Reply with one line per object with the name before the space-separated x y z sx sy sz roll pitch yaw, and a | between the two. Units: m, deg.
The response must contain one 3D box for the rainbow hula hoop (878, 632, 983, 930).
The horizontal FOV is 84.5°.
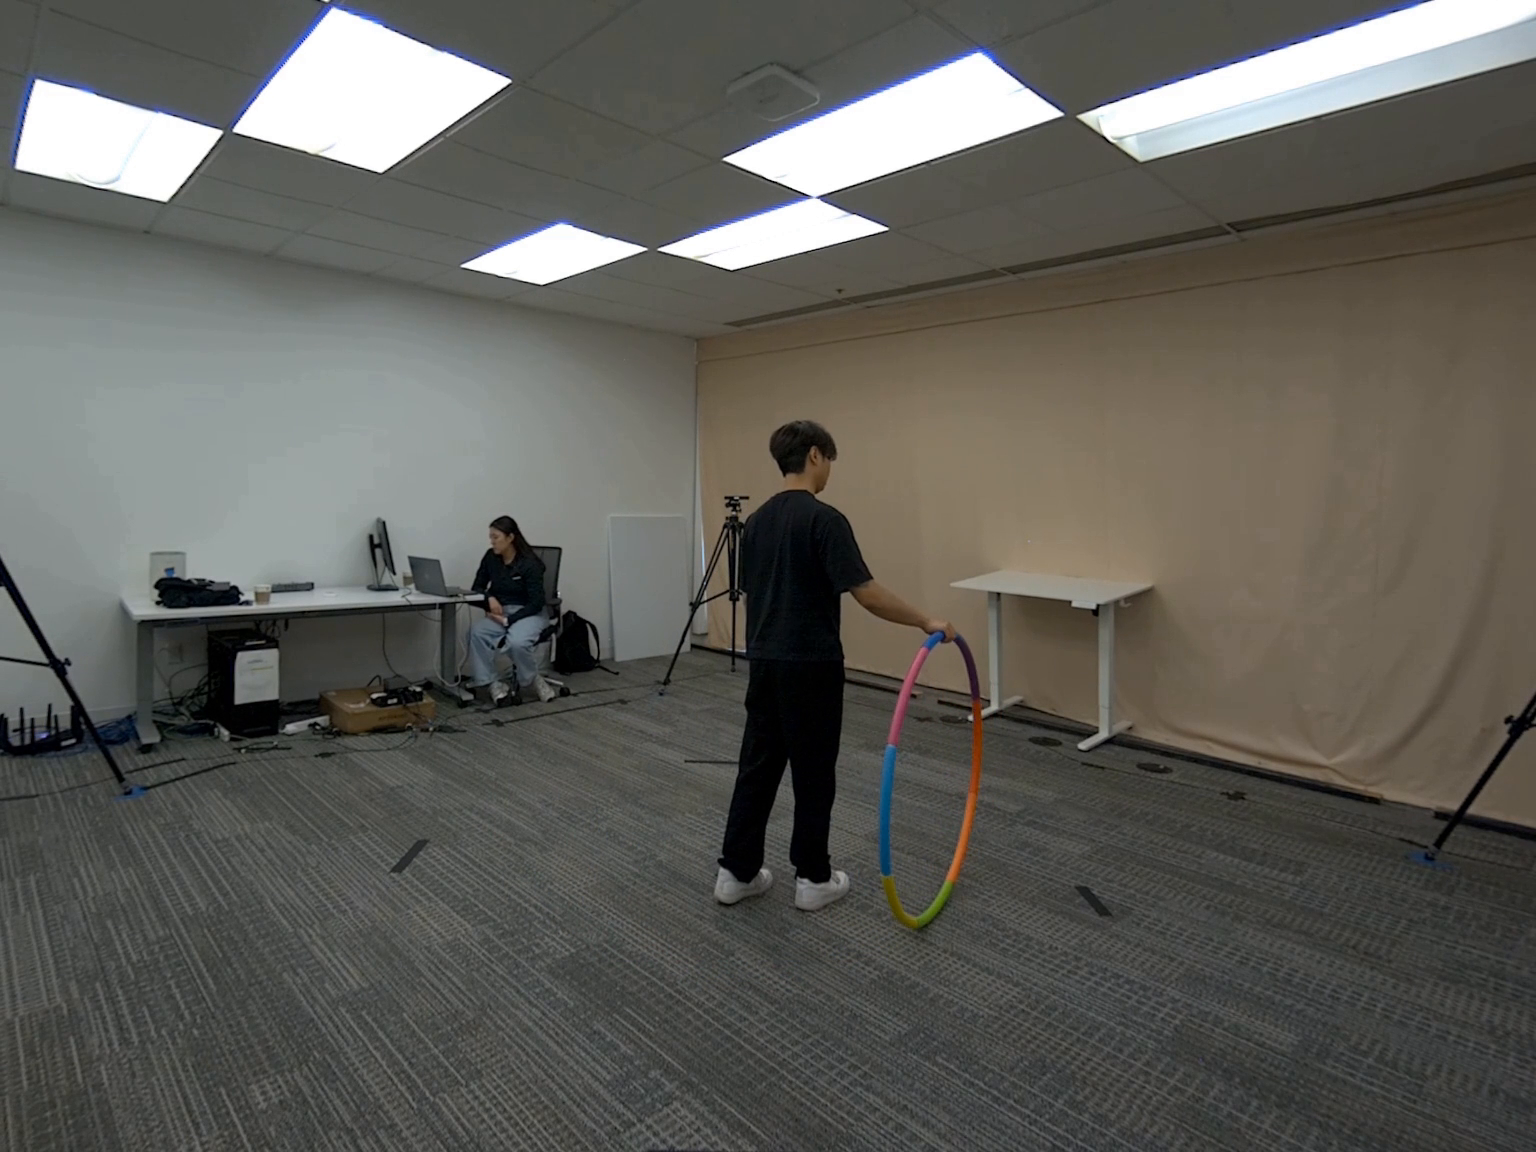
rainbow hula hoop | 0.561 0.664 2.821 0.036 0.976 0.960 3 4 29
